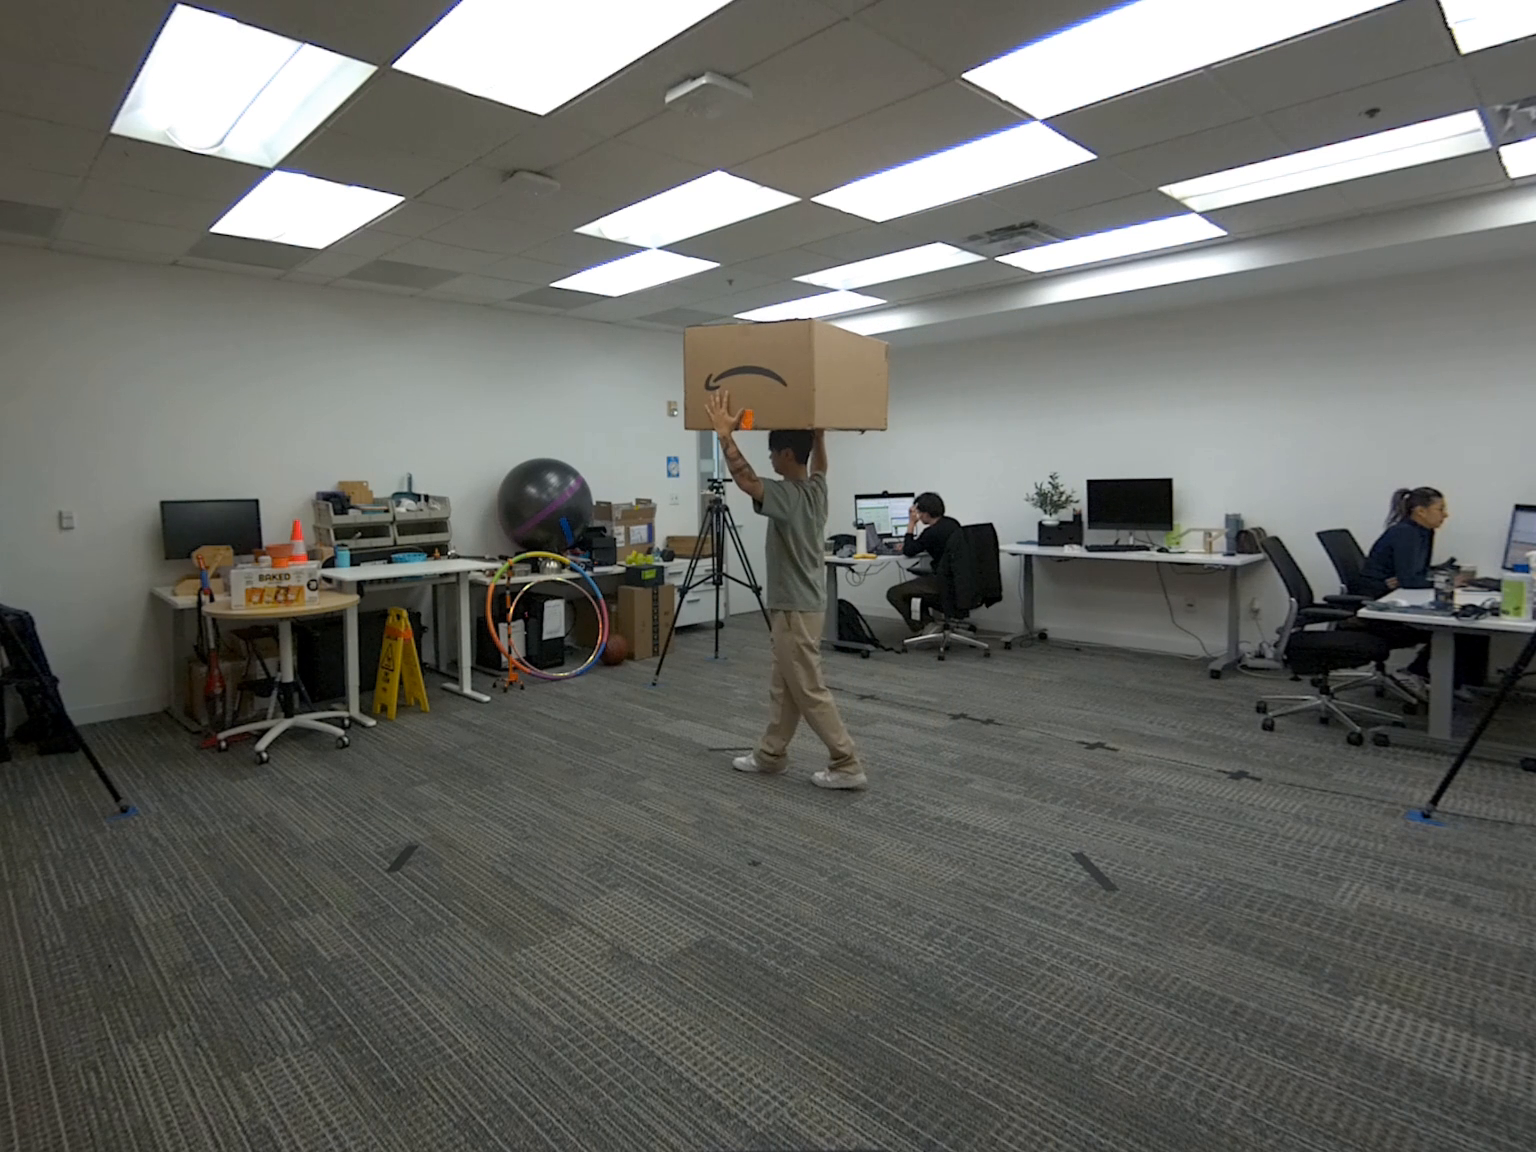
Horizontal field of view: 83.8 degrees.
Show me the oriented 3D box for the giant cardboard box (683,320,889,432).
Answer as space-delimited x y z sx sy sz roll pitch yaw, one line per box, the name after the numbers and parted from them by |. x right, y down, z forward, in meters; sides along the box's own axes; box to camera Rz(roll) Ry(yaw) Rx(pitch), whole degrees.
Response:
0.122 -0.872 3.857 0.592 0.423 1.008 4 10 26 | giant cardboard box
